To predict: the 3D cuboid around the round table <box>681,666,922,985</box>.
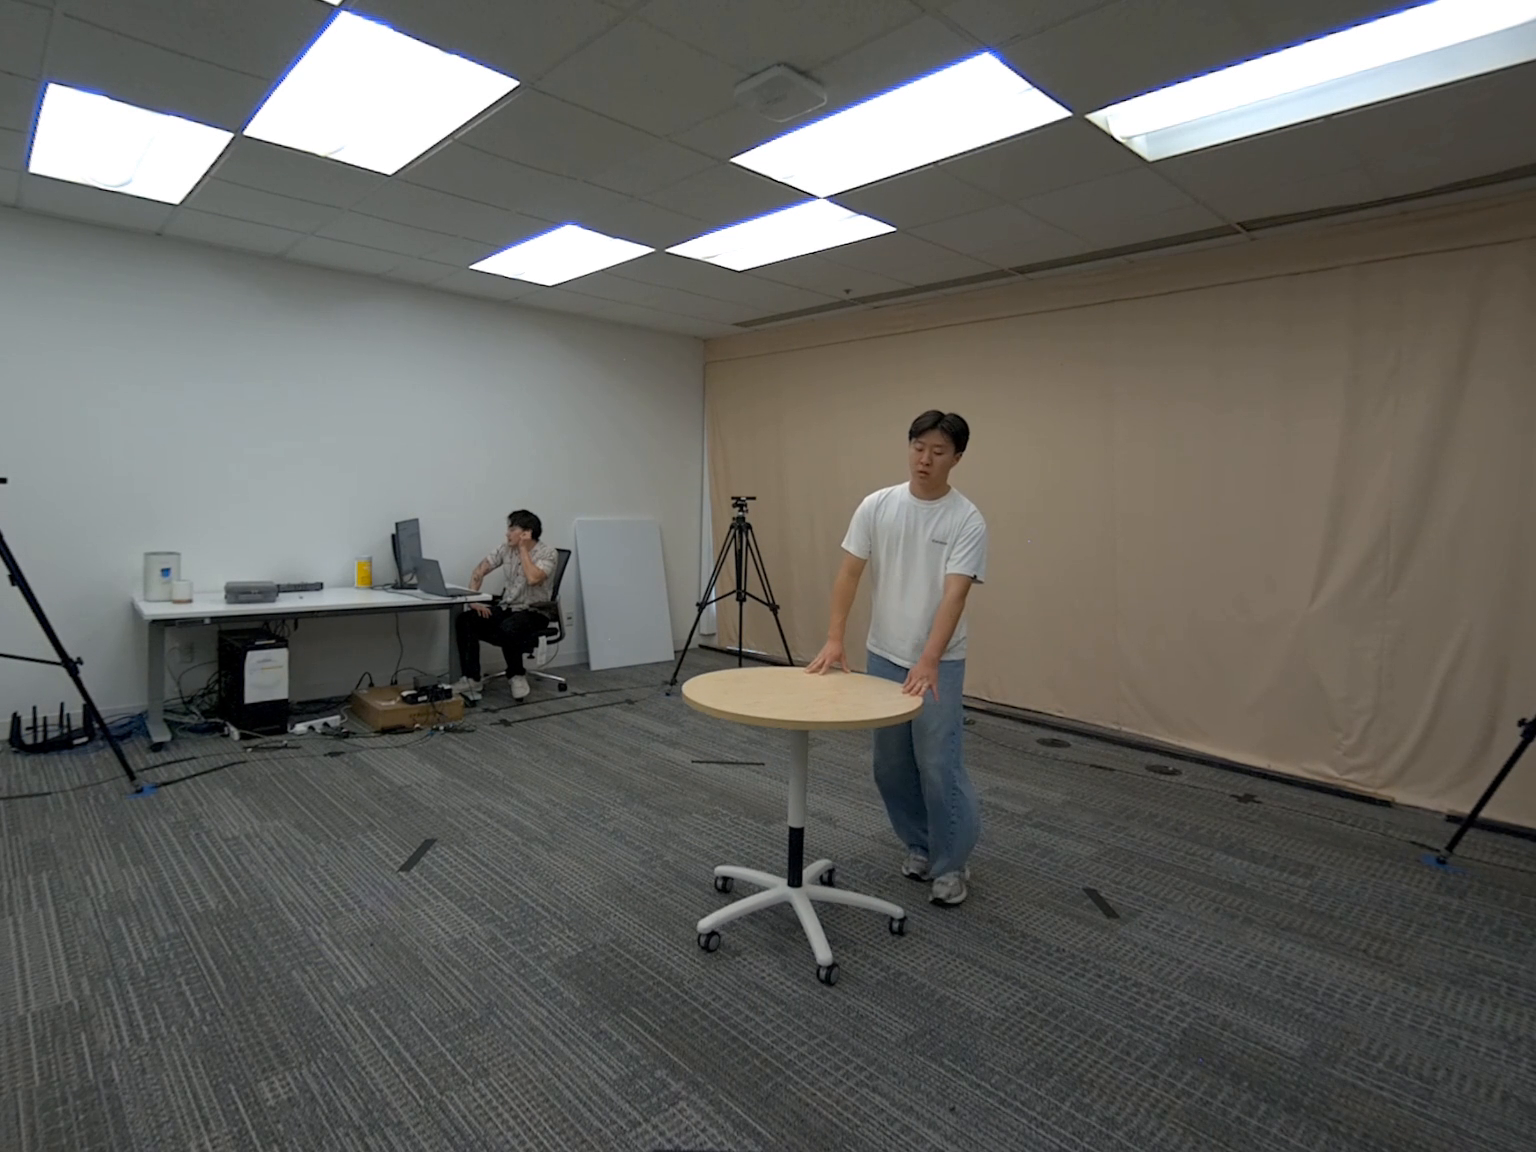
[{"bbox_3d":[0.089,0.759,2.727,0.763,0.792,0.766,1,4,-1],"label":"round table"}]
